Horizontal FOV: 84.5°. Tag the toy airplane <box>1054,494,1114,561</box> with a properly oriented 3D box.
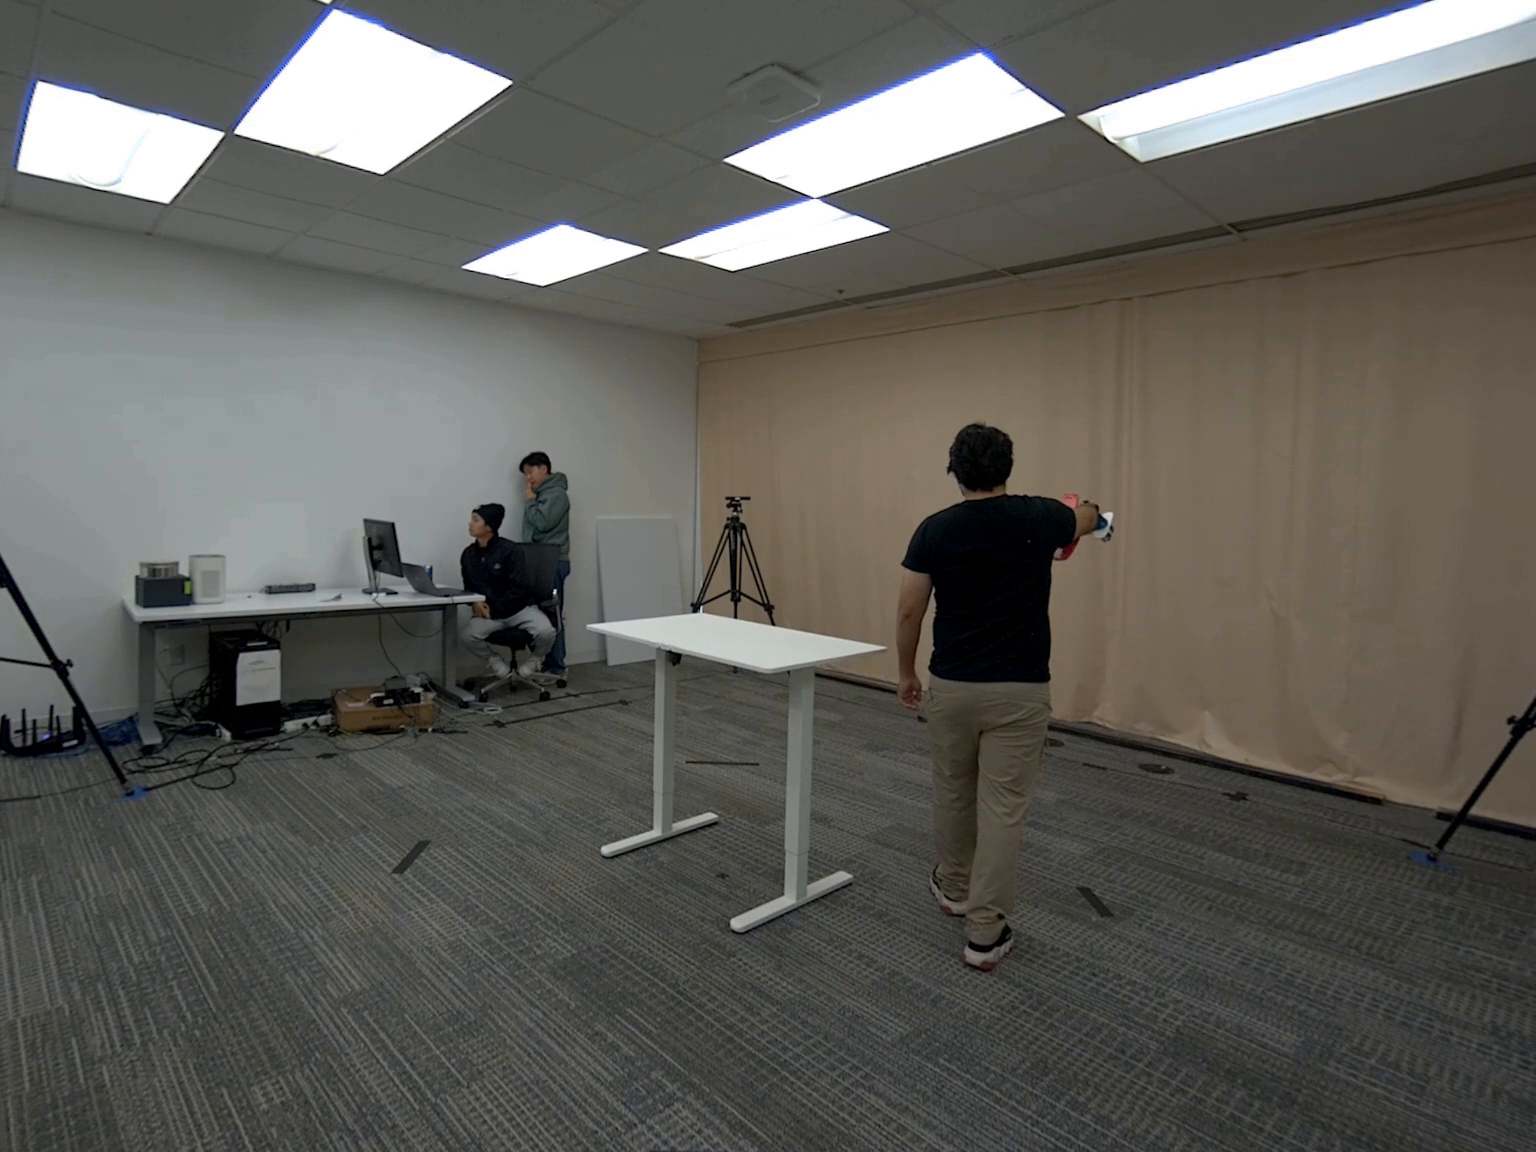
[{"bbox_3d":[1.151,-0.188,3.141,0.153,0.255,0.260,38,-53,-18],"label":"toy airplane"}]
